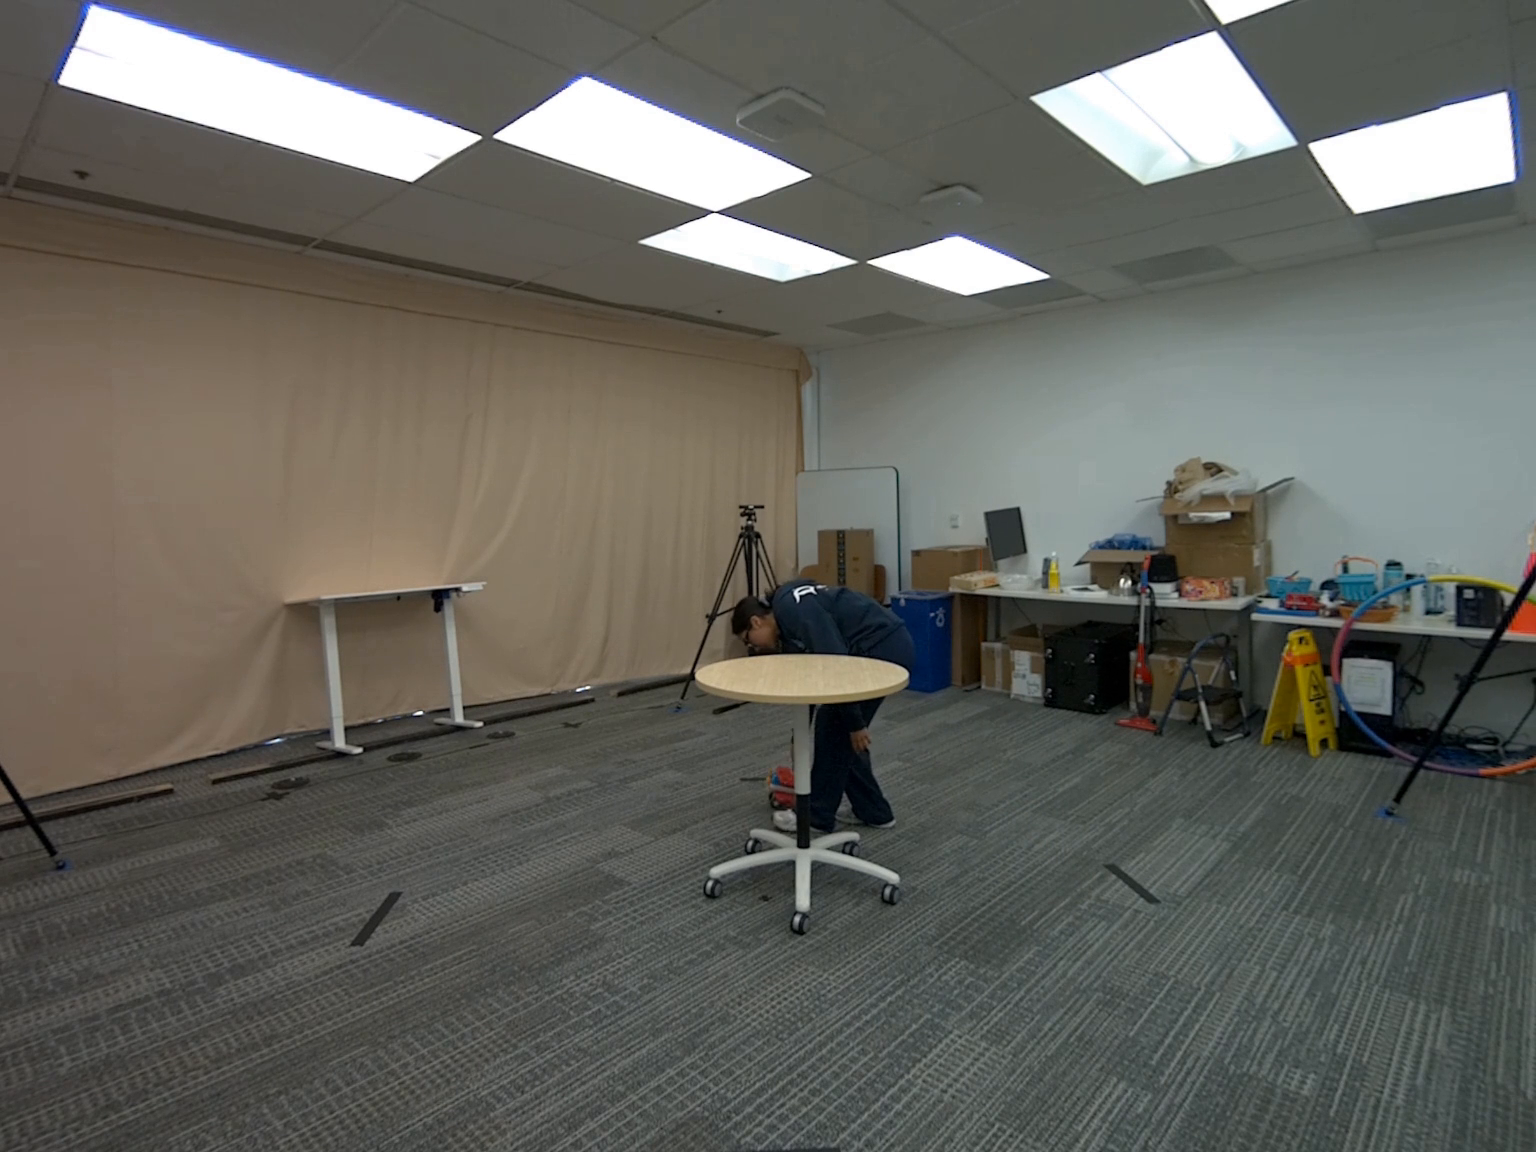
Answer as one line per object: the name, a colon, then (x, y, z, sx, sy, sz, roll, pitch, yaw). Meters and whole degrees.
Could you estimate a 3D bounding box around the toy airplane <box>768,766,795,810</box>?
toy airplane: (0.113, 0.989, 3.934, 0.252, 0.156, 0.258, -6, 6, -31)
